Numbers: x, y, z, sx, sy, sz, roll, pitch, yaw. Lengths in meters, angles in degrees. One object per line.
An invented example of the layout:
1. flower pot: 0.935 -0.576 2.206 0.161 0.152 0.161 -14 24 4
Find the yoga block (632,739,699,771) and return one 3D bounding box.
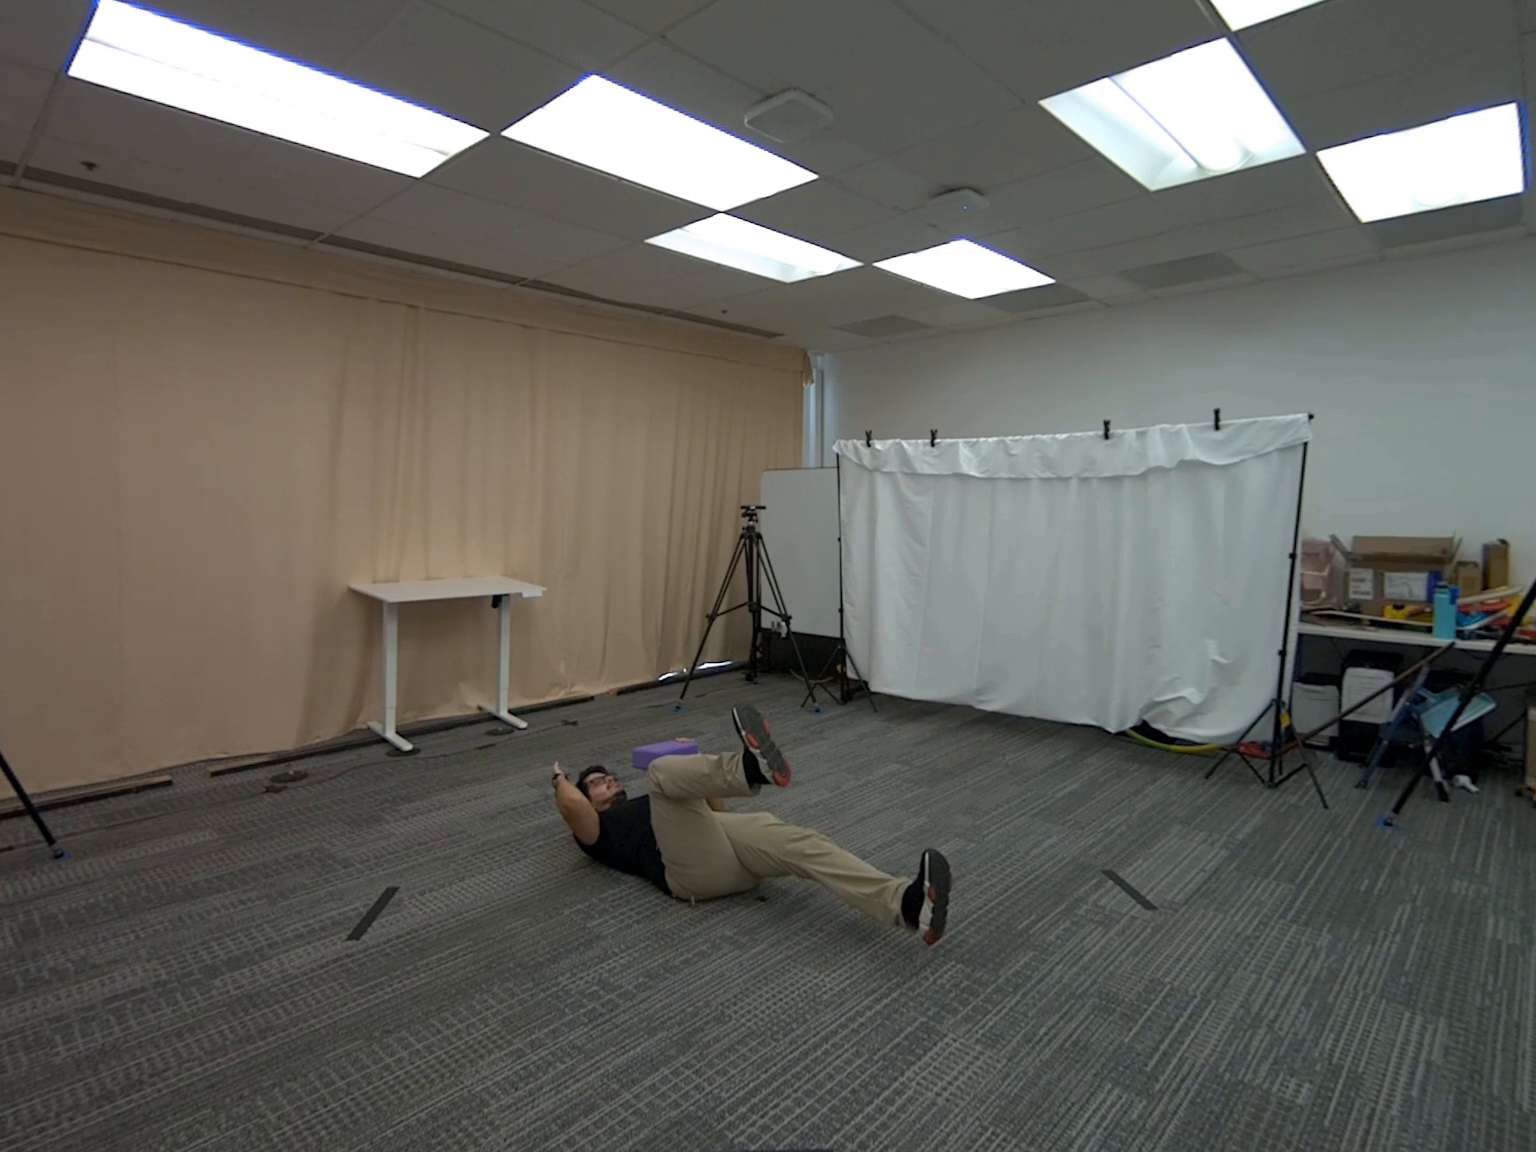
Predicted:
1. yoga block: -0.399 0.692 3.234 0.153 0.076 0.222 -2 -2 39
